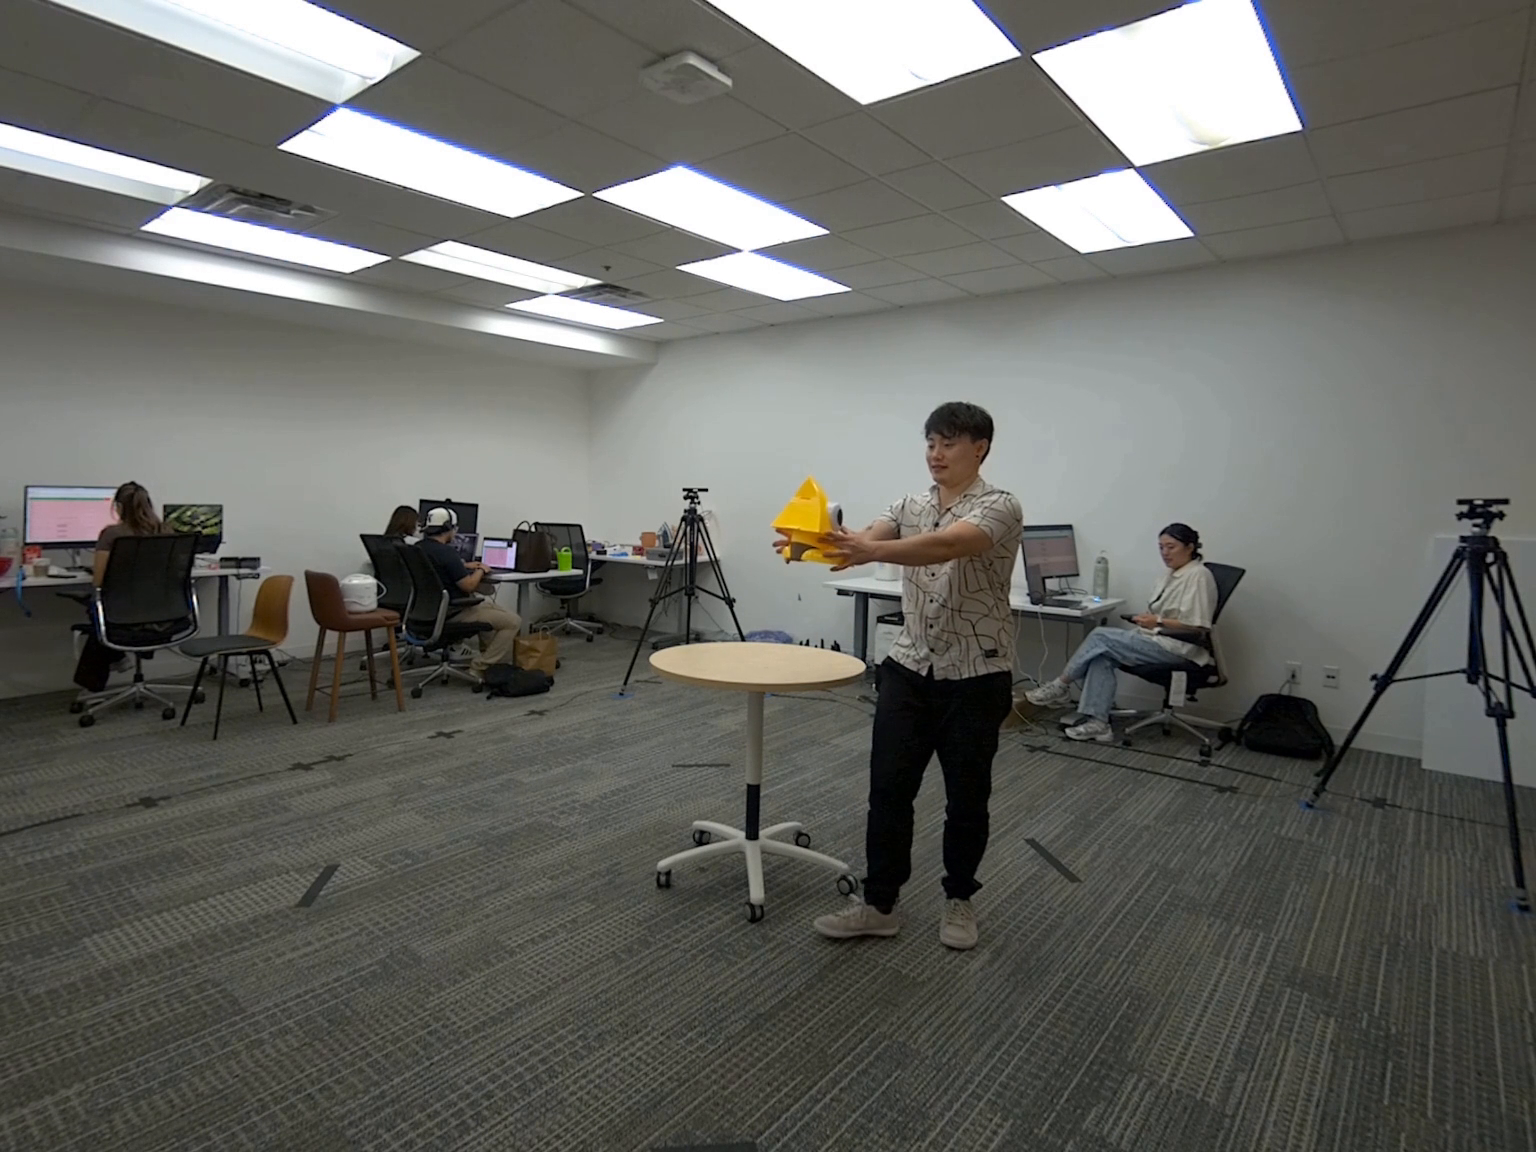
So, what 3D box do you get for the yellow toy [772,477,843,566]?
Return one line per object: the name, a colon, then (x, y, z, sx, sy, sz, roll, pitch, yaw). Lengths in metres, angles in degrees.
yellow toy: (0.134, -0.161, 2.354, 0.186, 0.231, 0.212, 7, 1, -38)
